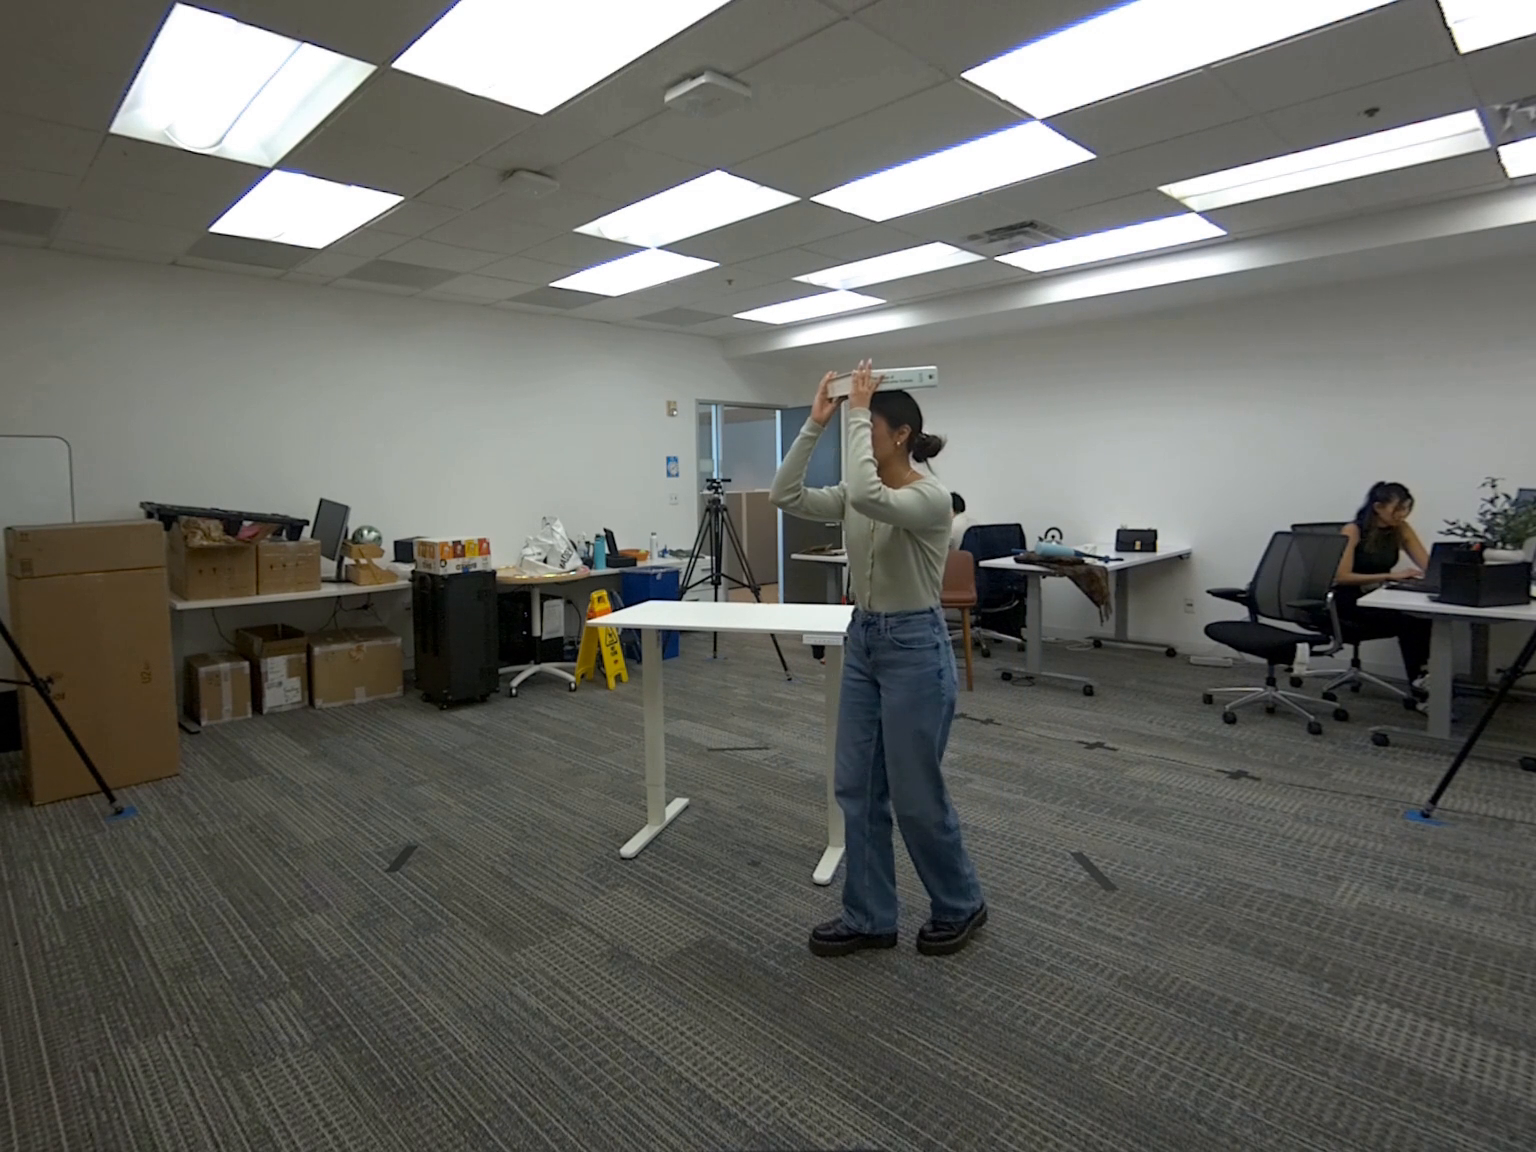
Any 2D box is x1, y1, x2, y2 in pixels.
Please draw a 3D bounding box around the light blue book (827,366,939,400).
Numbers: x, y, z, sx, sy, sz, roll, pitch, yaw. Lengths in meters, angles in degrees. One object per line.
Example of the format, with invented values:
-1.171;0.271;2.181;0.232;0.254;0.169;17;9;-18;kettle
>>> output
0.335;-0.560;2.457;0.257;0.058;0.196;-9;9;-21;light blue book
